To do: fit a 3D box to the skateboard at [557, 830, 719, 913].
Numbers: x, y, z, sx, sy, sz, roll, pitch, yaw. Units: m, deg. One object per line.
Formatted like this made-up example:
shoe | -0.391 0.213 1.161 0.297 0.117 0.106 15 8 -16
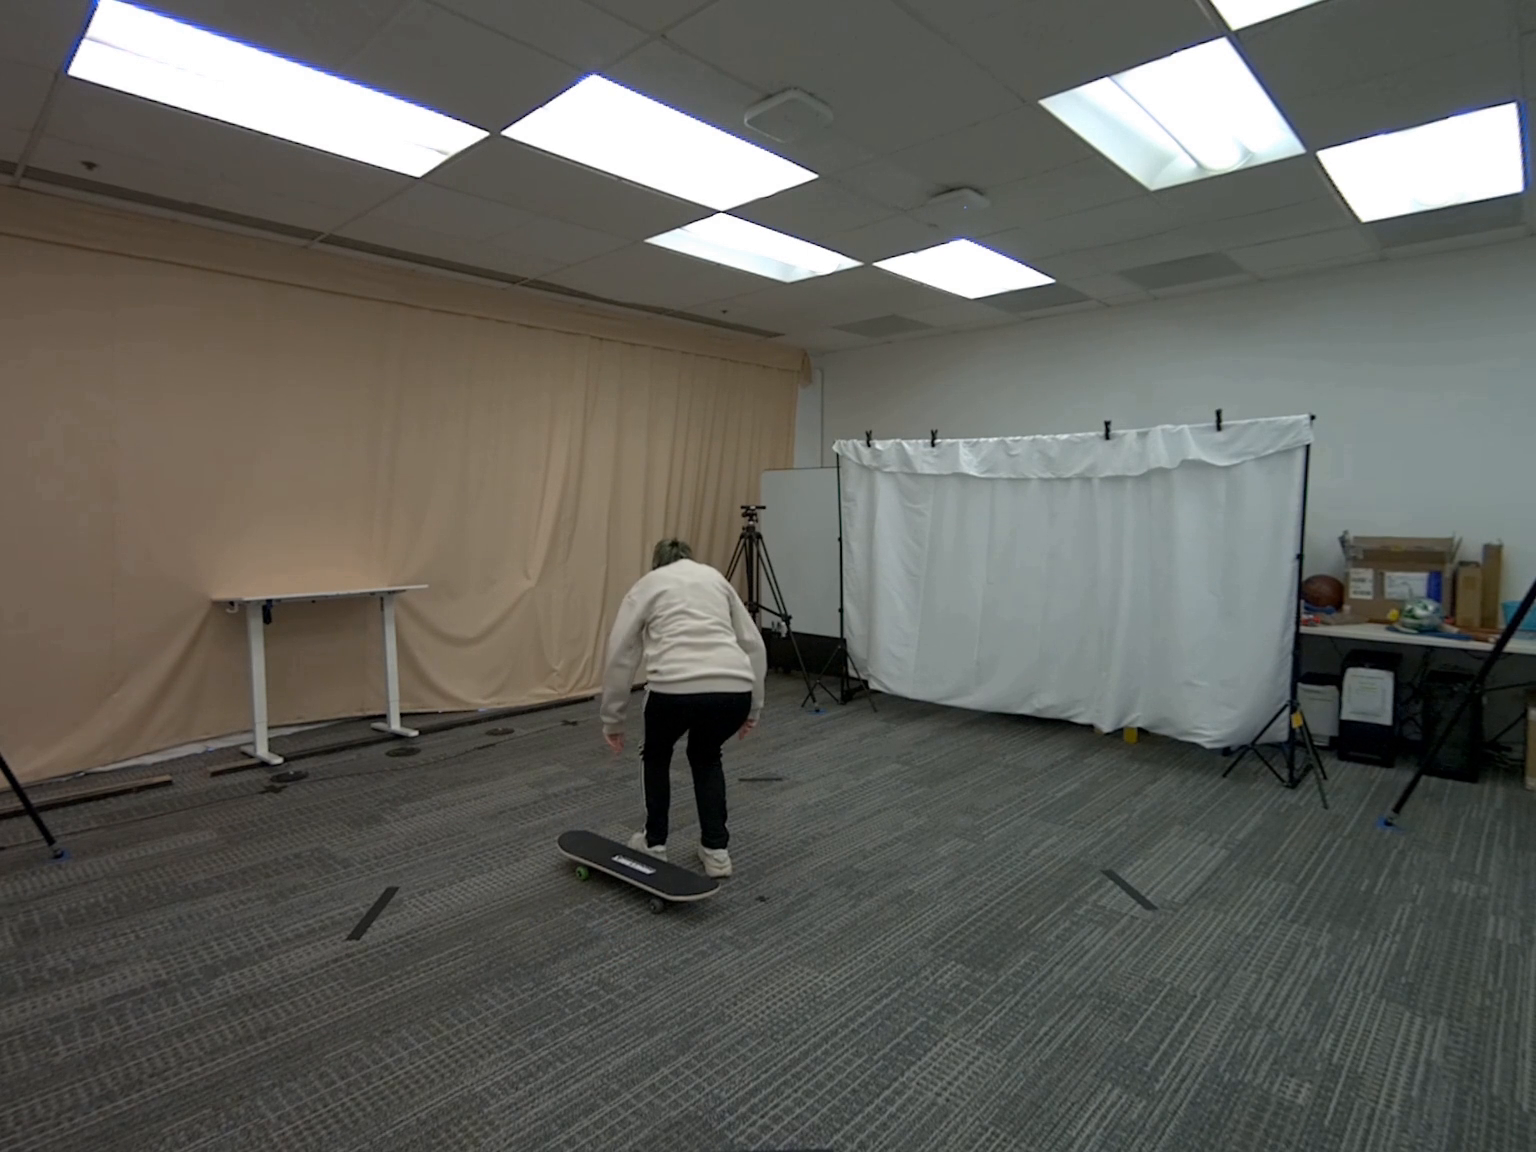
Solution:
skateboard | -0.490 1.083 3.074 0.811 0.110 0.188 3 5 40
